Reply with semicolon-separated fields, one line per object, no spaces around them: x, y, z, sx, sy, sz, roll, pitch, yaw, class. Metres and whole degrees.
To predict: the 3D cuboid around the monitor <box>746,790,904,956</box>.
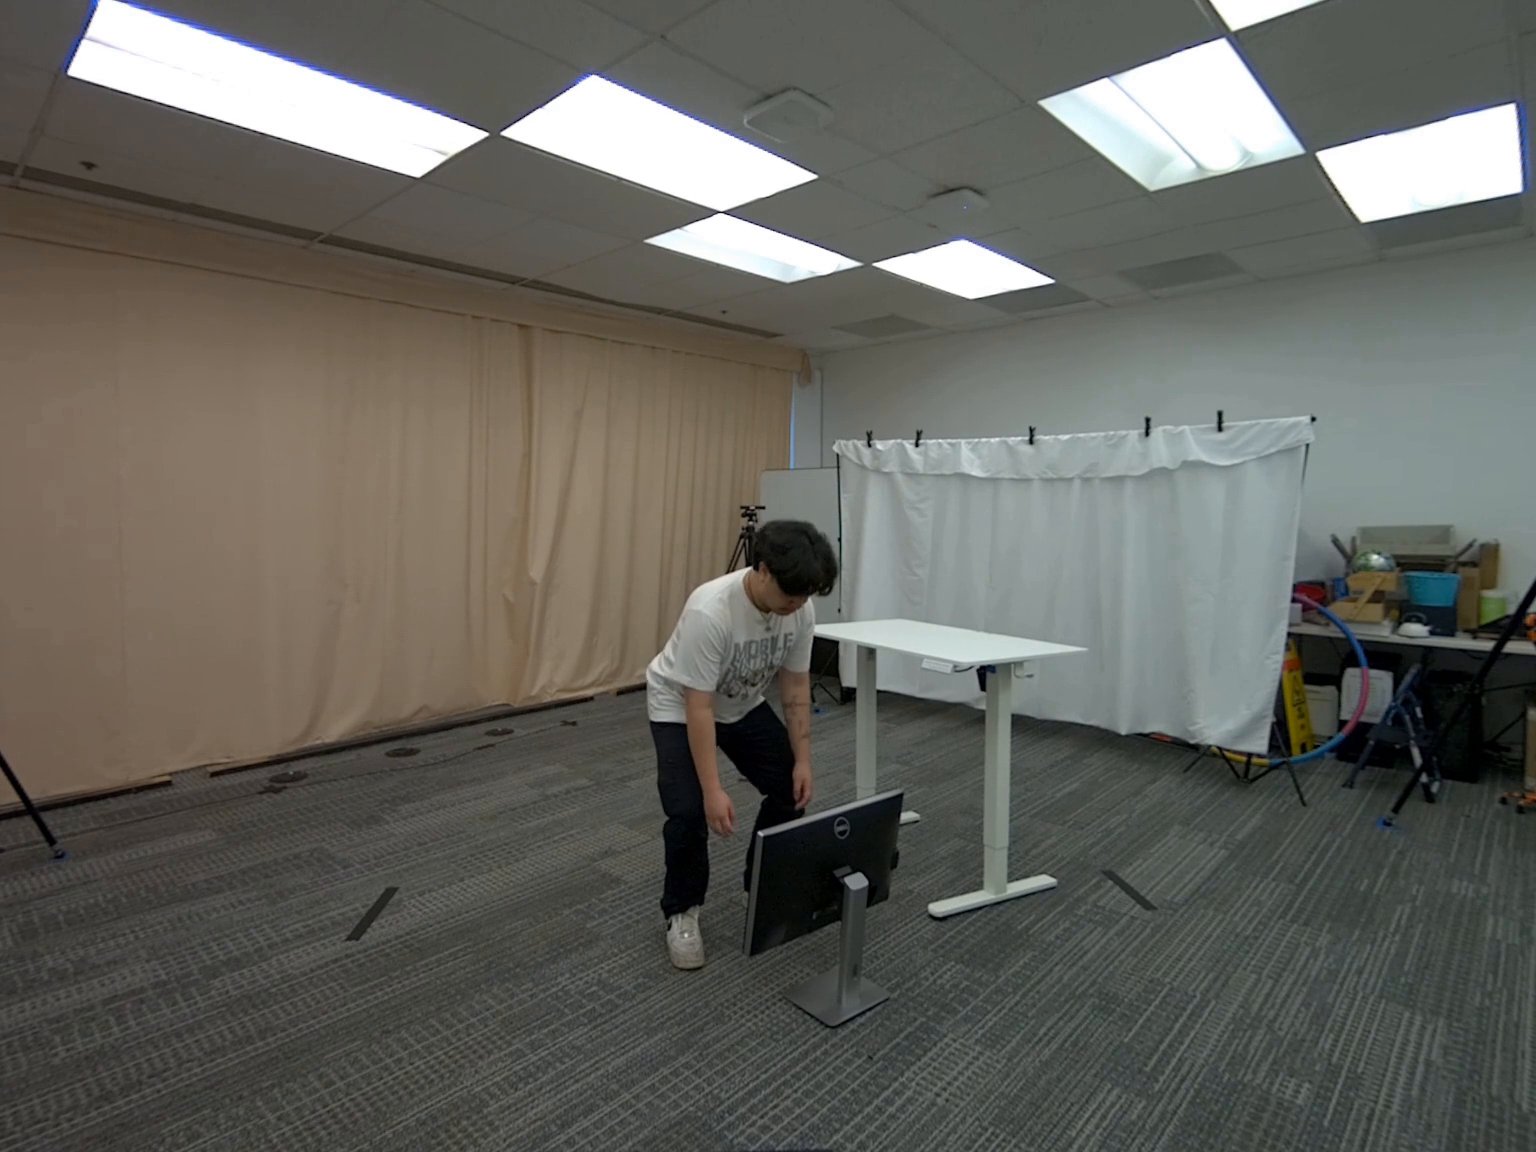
0.221;0.937;2.344;0.548;0.552;0.217;-3;9;-38;monitor
